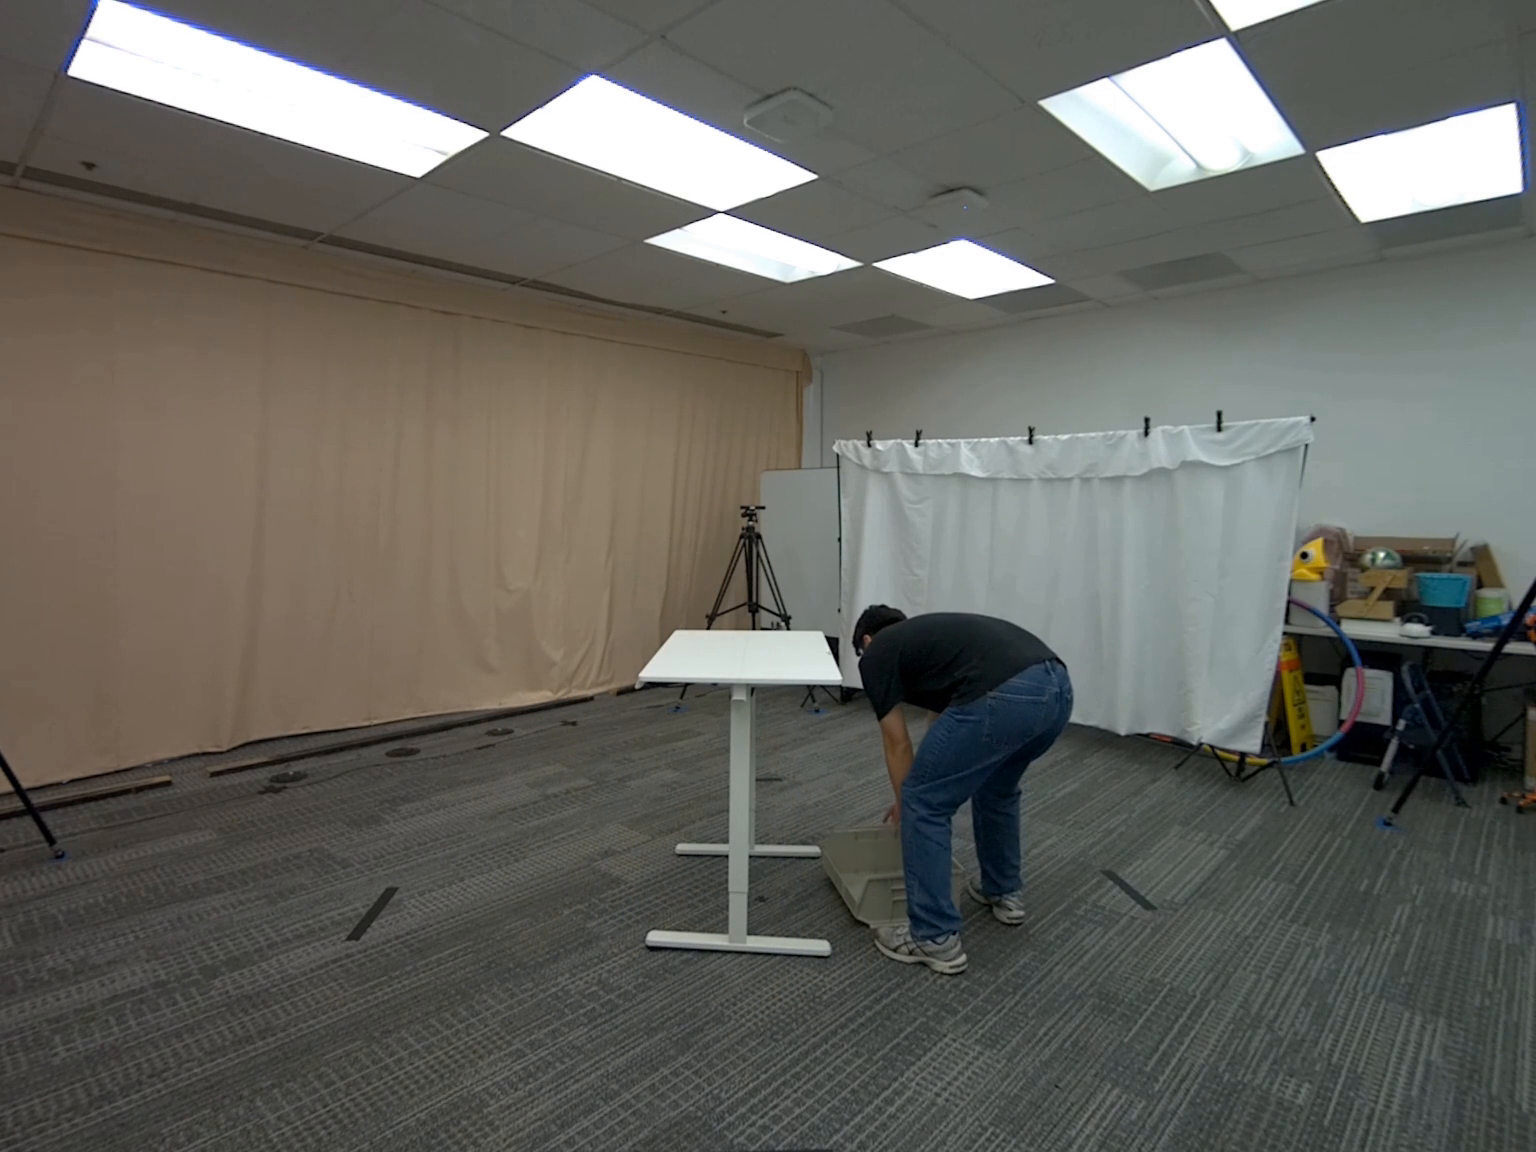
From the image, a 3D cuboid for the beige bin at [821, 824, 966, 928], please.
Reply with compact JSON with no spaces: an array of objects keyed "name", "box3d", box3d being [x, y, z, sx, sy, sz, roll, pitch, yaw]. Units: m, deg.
[{"name":"beige bin","box3d":[0.431,1.055,2.989,0.374,0.188,0.427,-1,4,-9]}]
